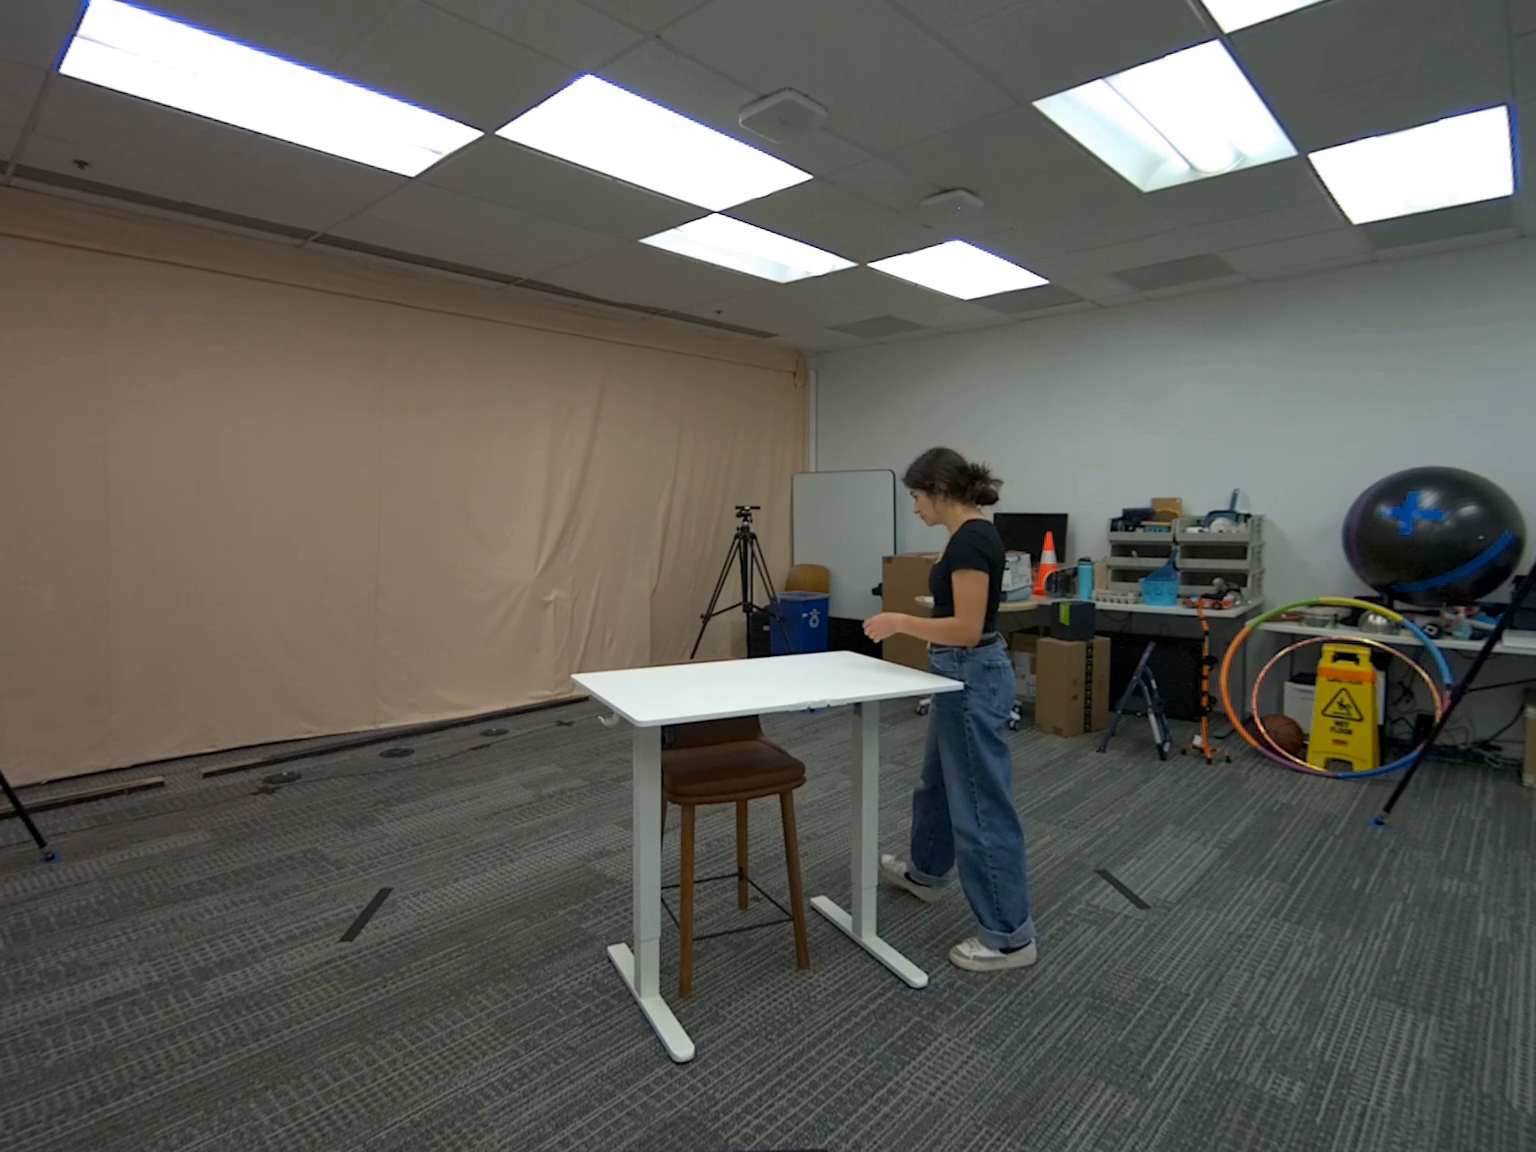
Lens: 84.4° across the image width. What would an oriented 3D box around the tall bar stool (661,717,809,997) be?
[{"bbox_3d":[-0.150,0.749,2.644,0.446,0.889,0.479,-1,2,-24],"label":"tall bar stool"}]
